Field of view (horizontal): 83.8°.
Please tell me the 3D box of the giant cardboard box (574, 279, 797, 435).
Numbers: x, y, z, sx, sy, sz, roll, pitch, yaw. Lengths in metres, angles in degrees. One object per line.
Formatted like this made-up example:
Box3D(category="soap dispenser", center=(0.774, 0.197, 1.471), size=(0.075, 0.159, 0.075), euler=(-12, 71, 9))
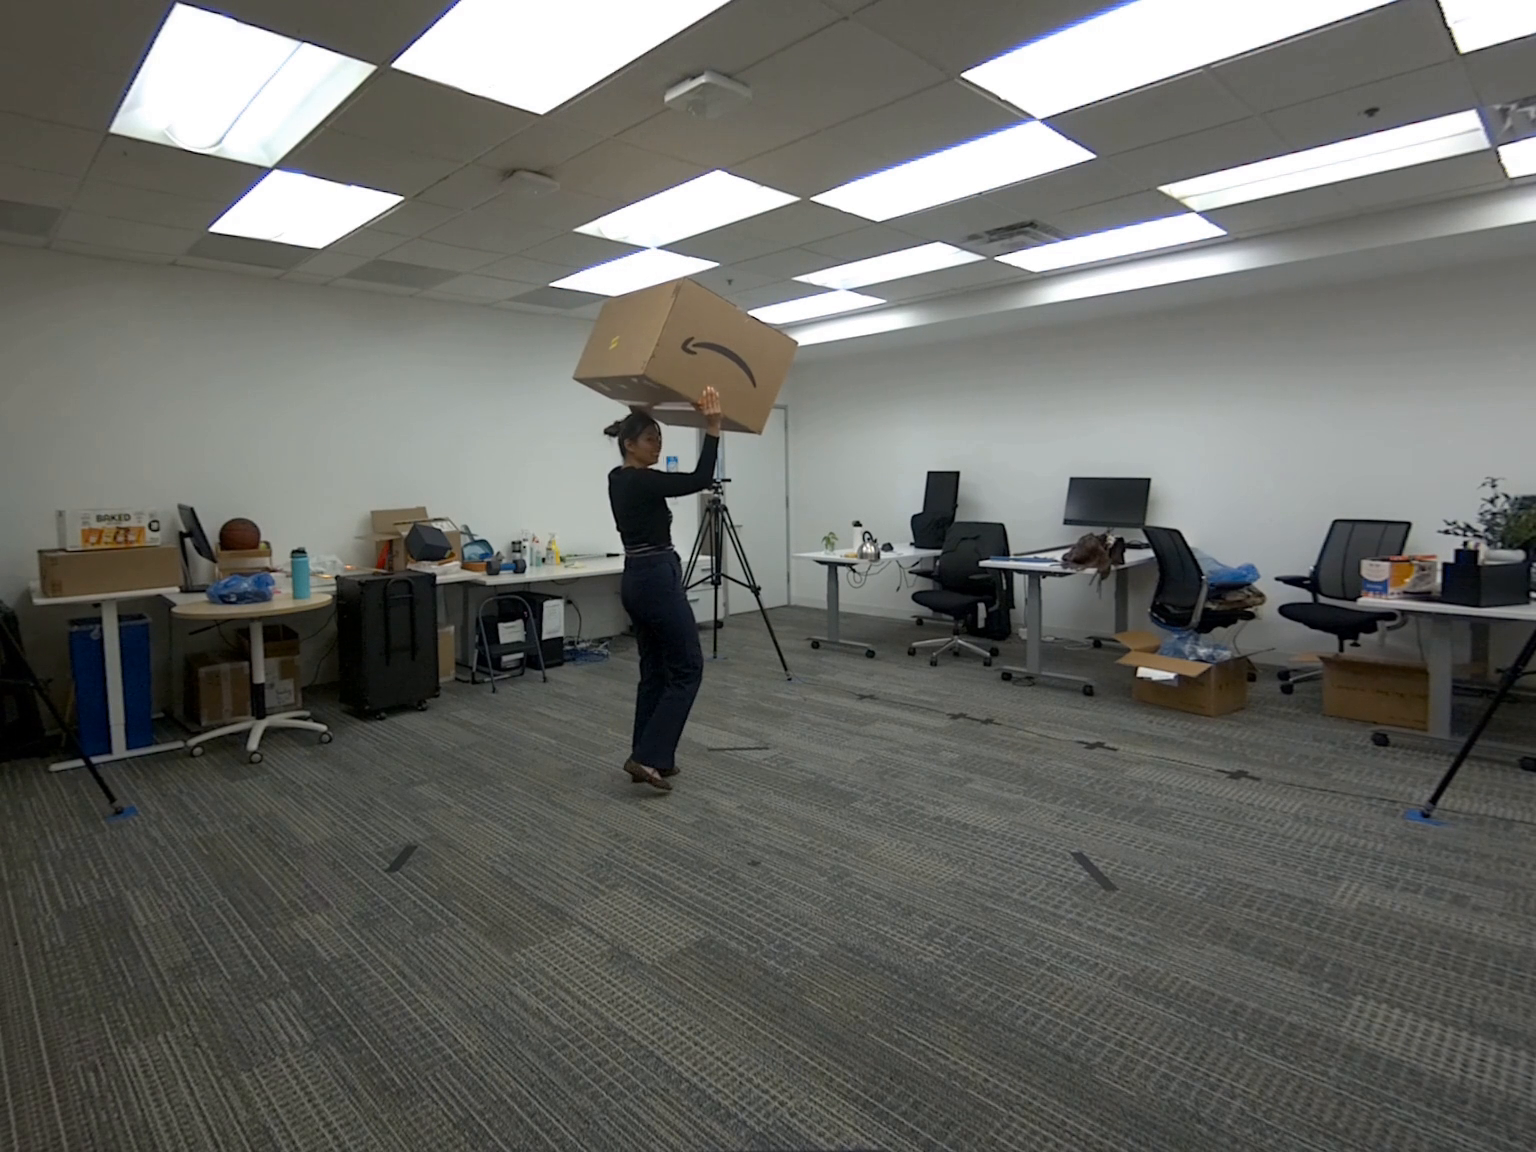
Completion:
Box3D(category="giant cardboard box", center=(-0.417, -0.969, 3.890), size=(0.560, 0.426, 1.057), euler=(23, -1, -29))
